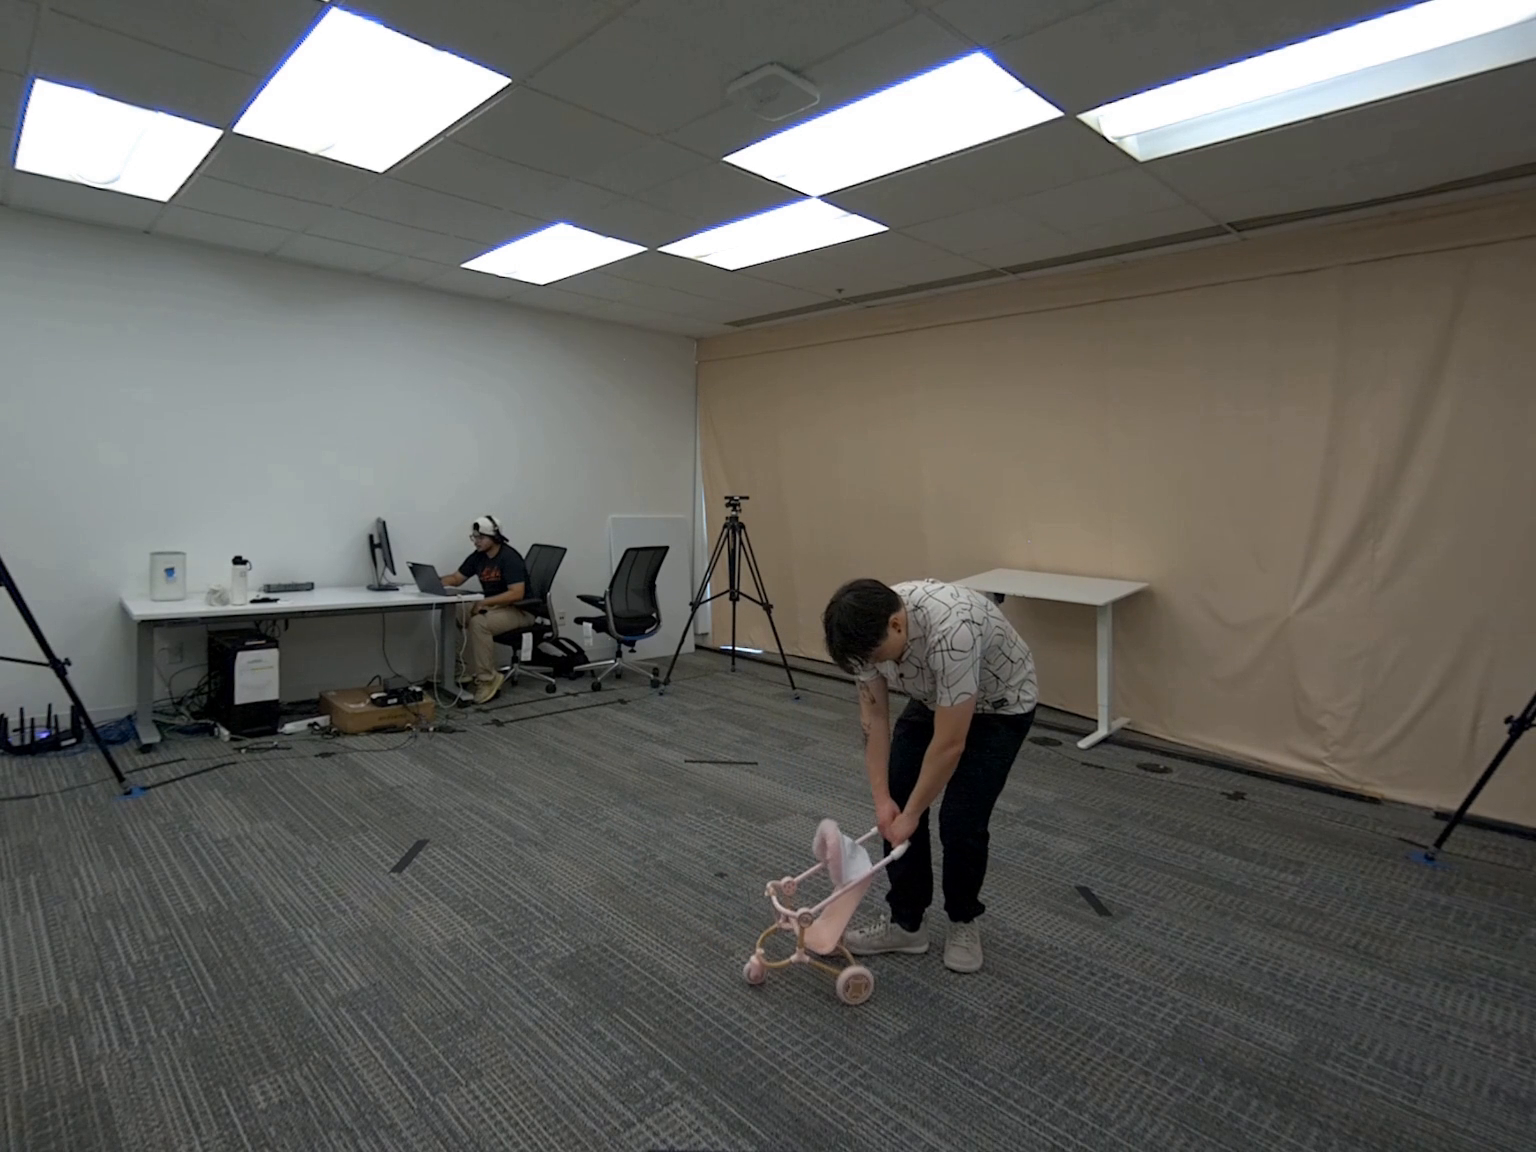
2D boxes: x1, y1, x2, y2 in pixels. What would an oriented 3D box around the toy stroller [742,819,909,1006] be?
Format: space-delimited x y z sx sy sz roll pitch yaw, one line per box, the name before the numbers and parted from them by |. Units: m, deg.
toy stroller | 0.150 0.949 2.422 0.339 0.534 0.283 17 1 -7
